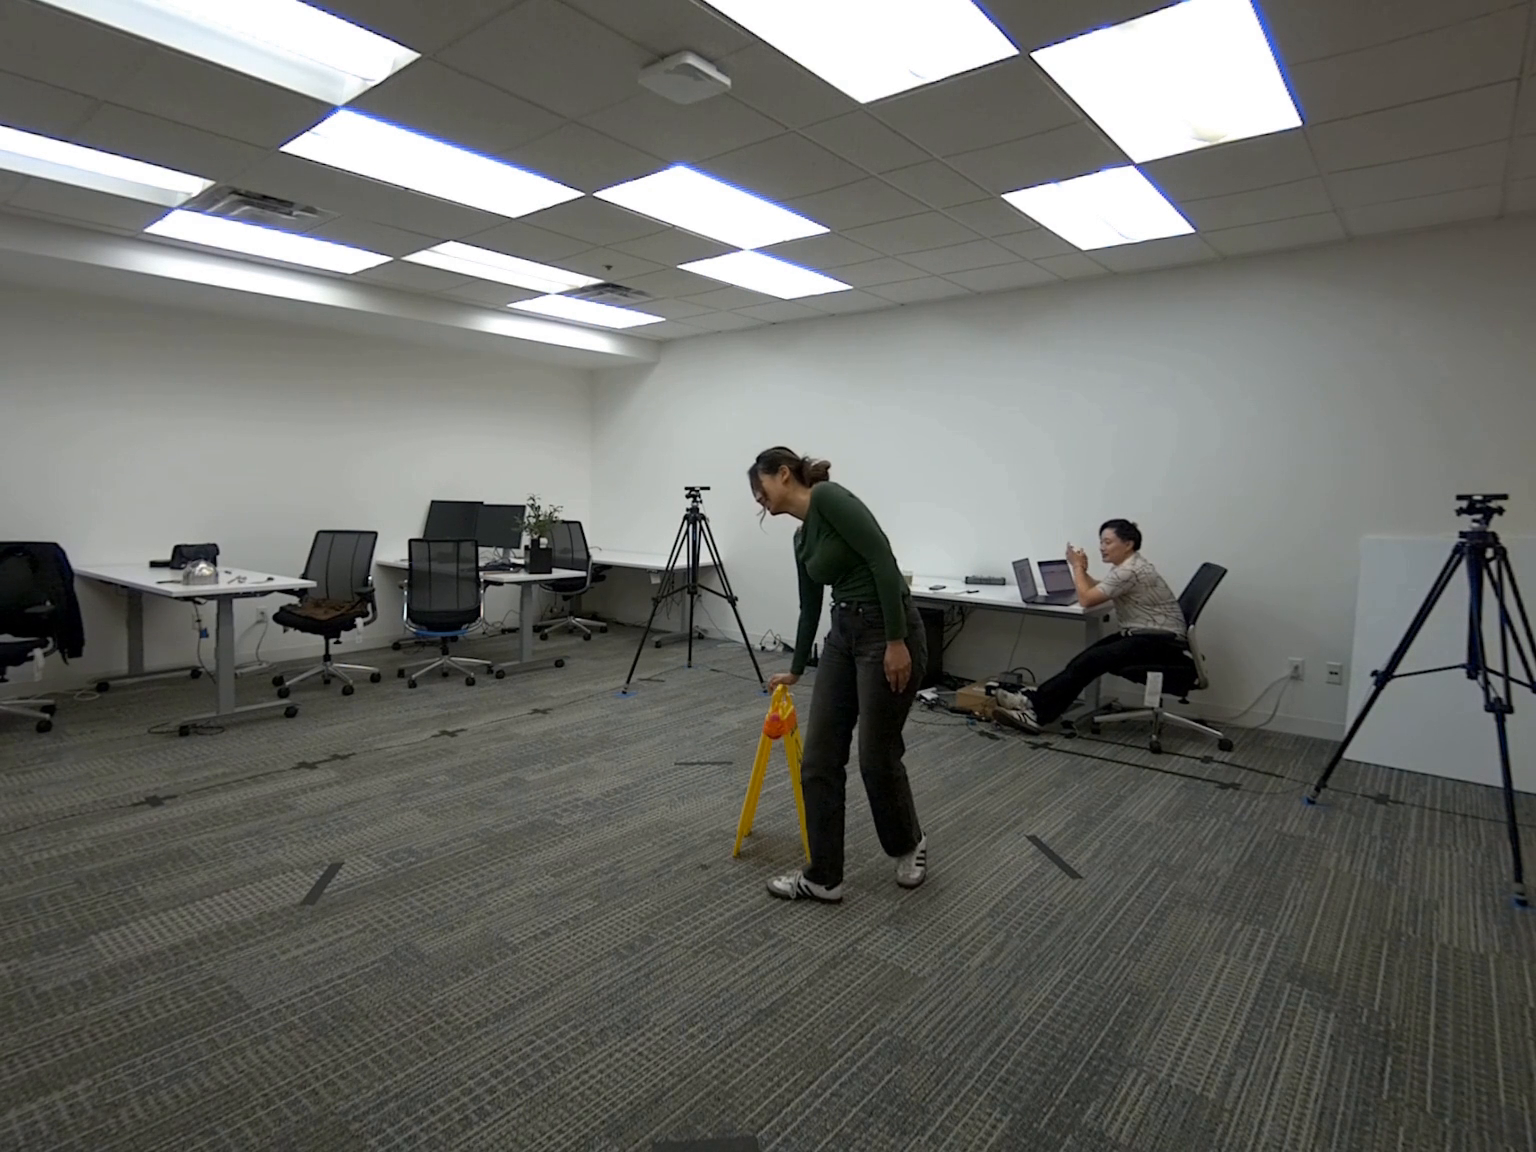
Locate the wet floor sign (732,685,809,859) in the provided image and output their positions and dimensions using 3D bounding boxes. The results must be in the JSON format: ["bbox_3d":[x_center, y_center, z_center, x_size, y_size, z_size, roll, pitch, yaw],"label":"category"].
[{"bbox_3d":[0.032,0.728,3.280,0.294,0.646,0.278,1,0,13],"label":"wet floor sign"}]
